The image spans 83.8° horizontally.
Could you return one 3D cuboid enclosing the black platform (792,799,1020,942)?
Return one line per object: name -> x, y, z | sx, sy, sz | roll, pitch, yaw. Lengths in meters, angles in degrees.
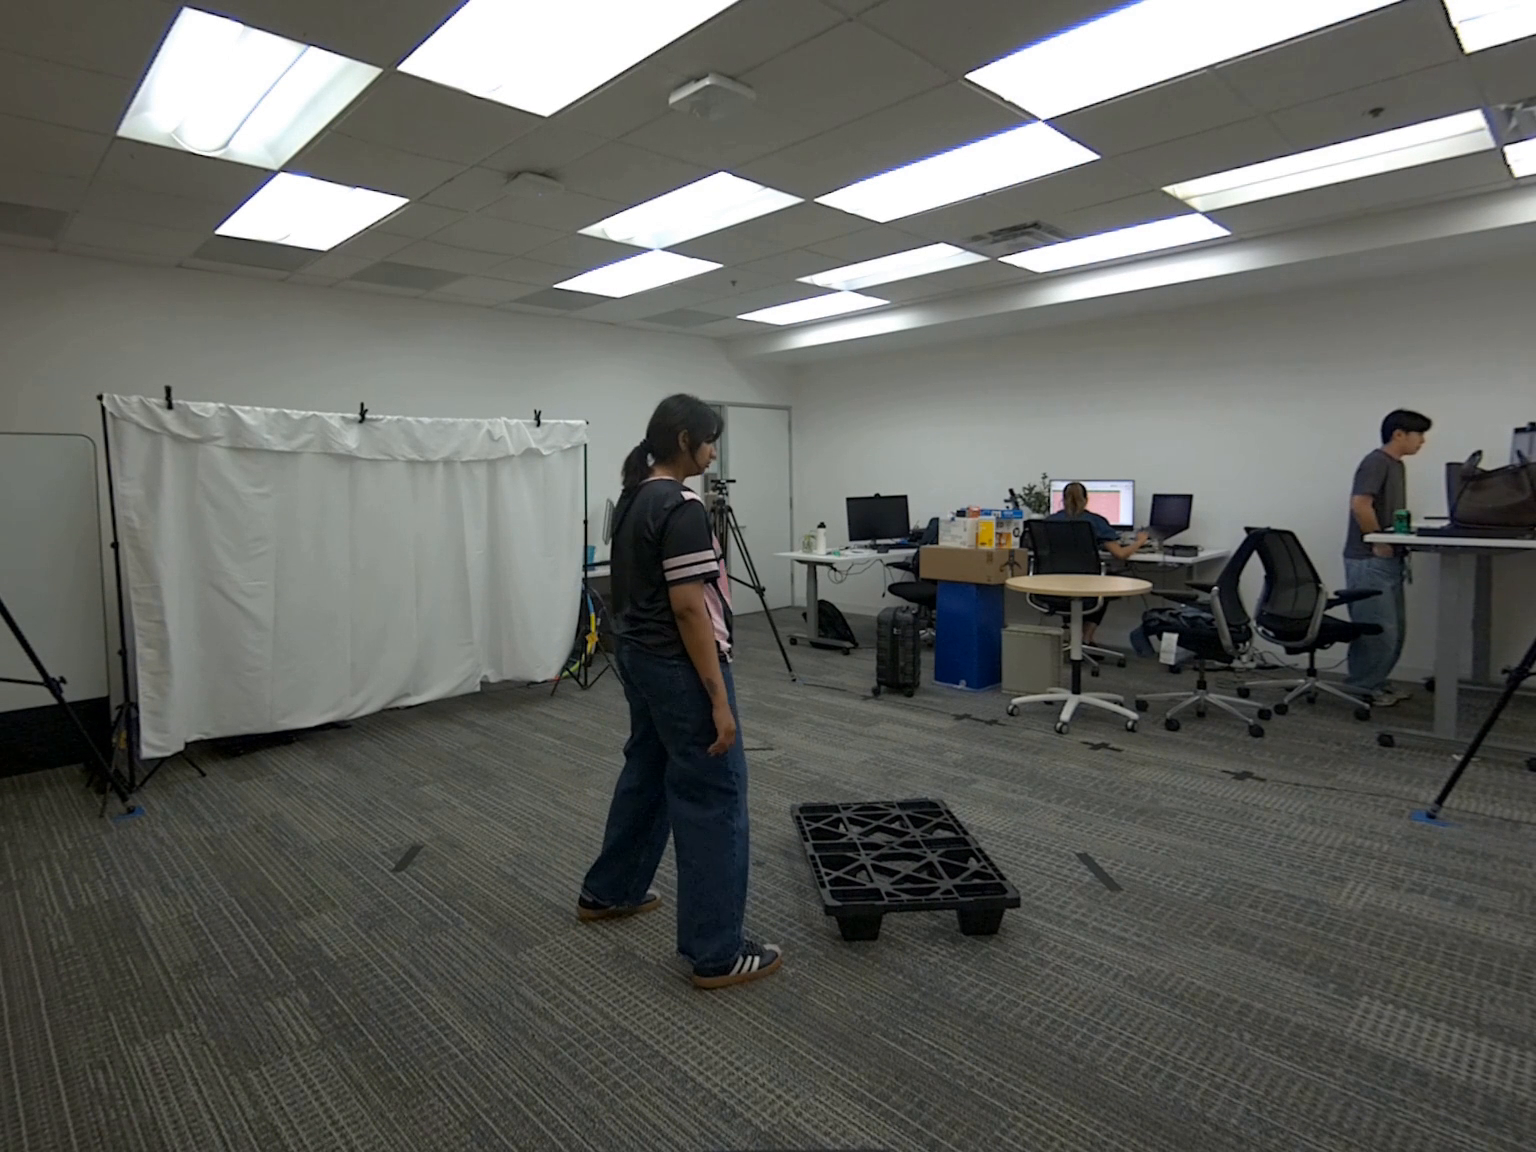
black platform -> 0.429, 0.990, 2.944 | 0.603, 0.142, 0.813 | -2, 6, -5
